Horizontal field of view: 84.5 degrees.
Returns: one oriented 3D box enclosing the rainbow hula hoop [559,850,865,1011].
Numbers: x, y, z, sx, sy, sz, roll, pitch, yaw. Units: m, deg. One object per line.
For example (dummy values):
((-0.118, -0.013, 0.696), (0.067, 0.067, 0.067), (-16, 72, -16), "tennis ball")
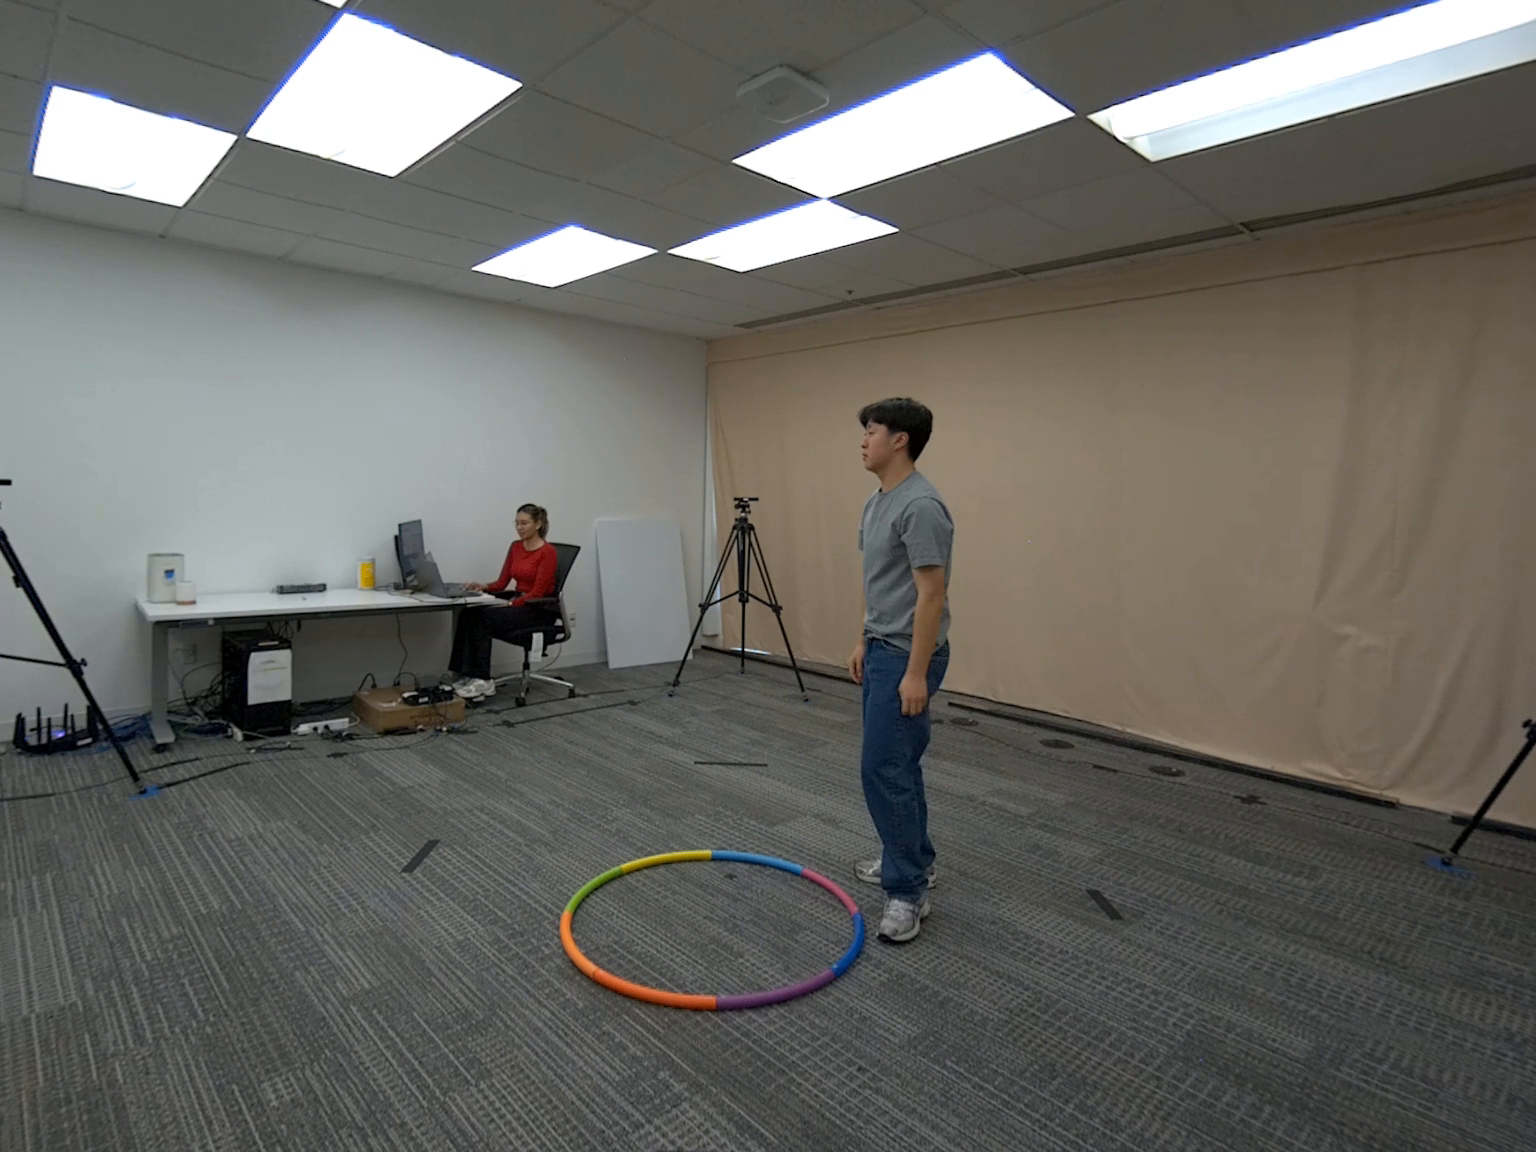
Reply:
((-0.193, 1.108, 2.769), (0.978, 0.035, 0.982), (1, 6, -1), "rainbow hula hoop")
